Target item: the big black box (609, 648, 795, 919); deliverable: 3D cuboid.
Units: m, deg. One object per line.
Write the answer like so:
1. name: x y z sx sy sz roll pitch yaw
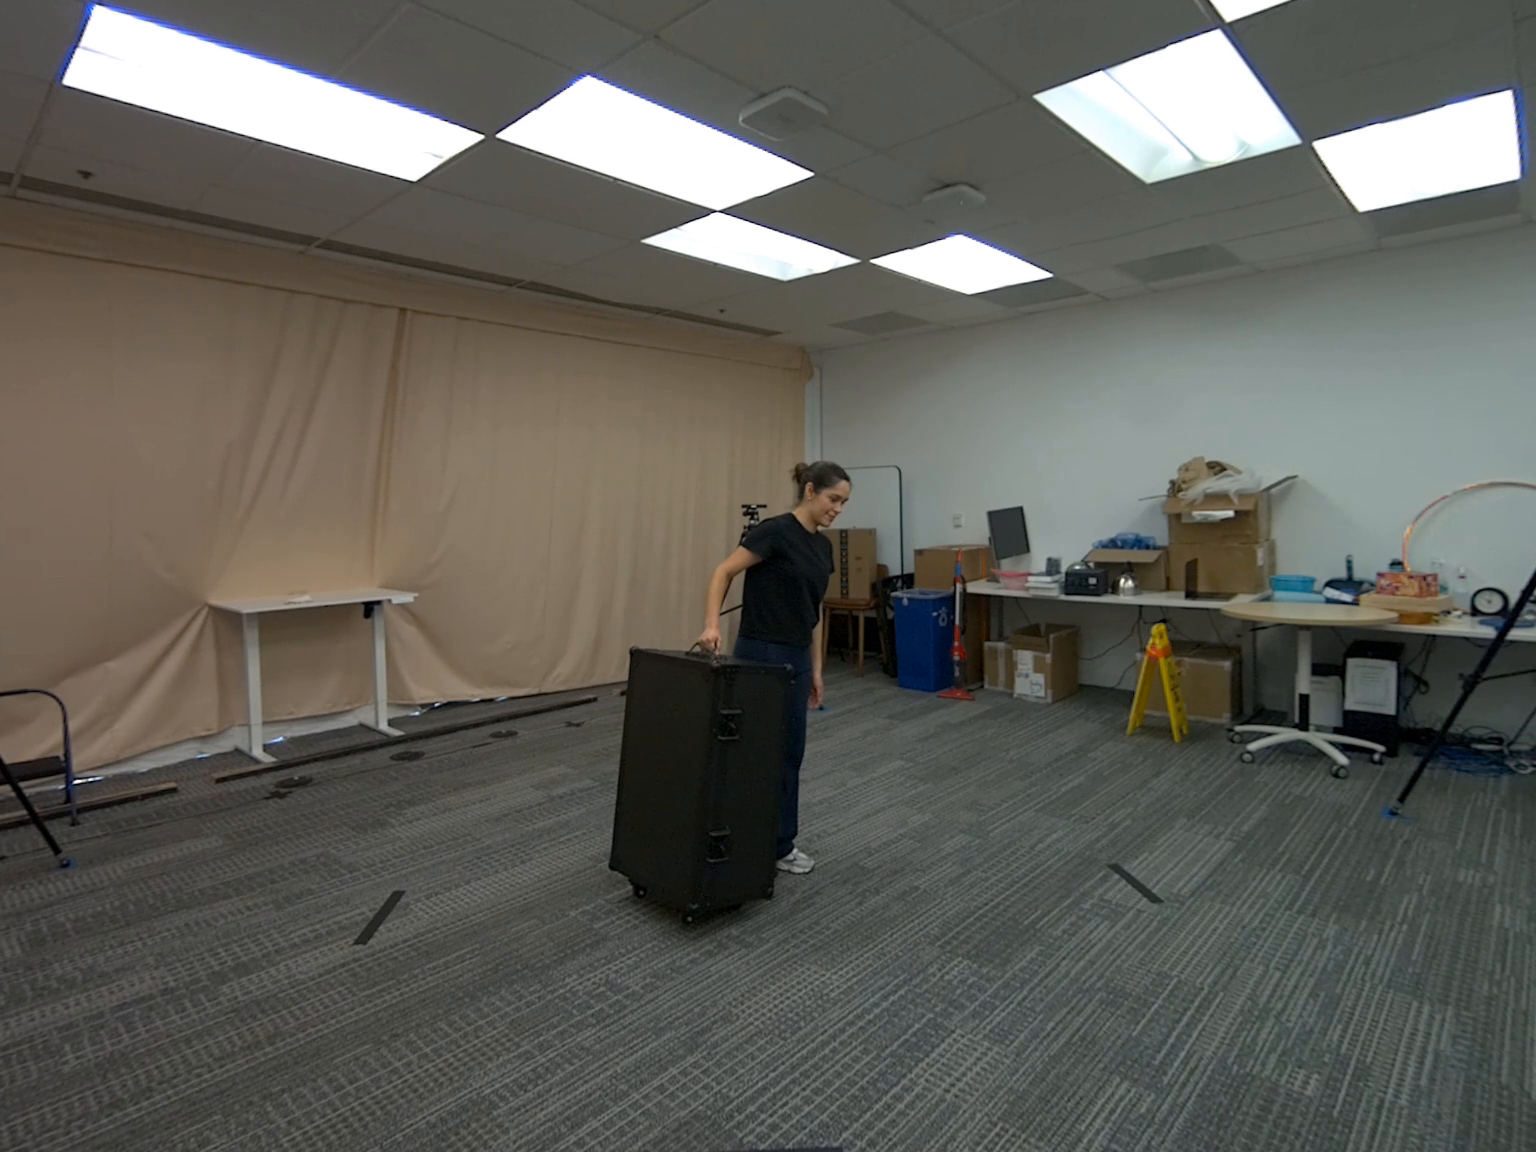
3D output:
1. big black box: -0.230 0.709 2.953 0.383 0.863 0.538 9 -5 -42
